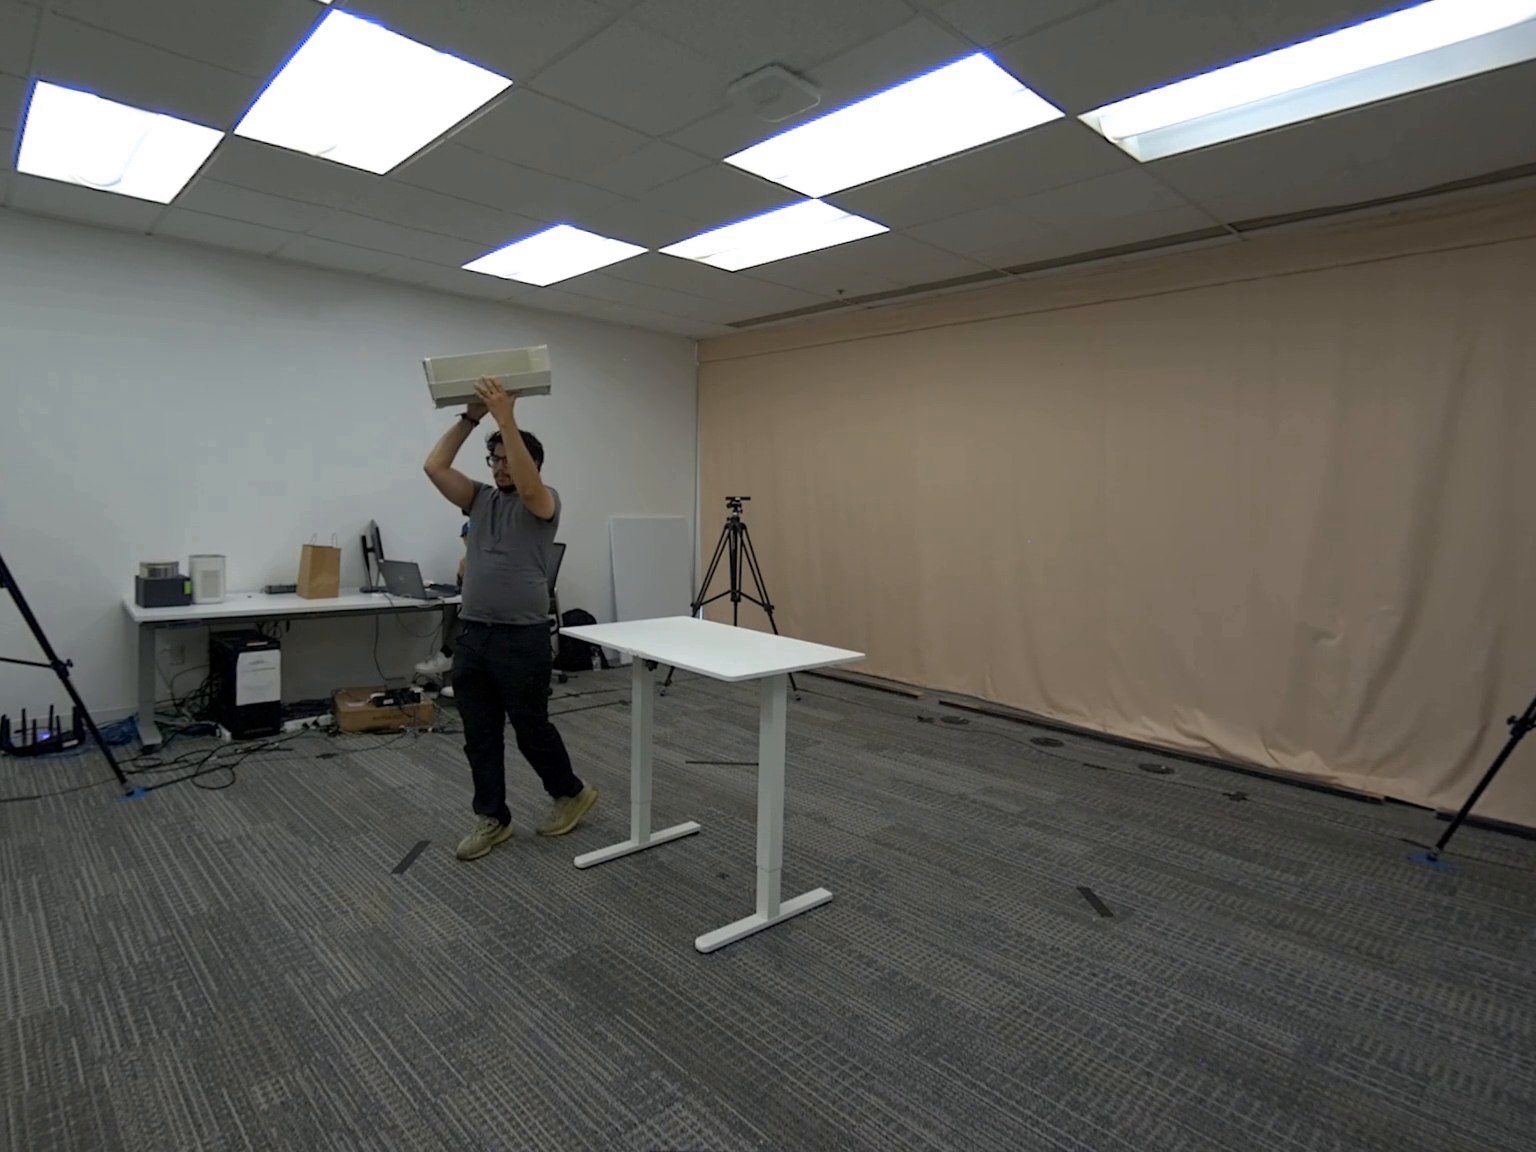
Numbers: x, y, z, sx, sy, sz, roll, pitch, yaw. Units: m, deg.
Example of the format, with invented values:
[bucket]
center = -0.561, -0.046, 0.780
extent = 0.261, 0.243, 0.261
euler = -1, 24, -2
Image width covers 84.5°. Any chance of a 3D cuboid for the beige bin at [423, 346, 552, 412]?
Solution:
[beige bin]
center = -1.041, -0.739, 3.108
extent = 0.417, 0.187, 0.386
euler = -13, 16, -19
